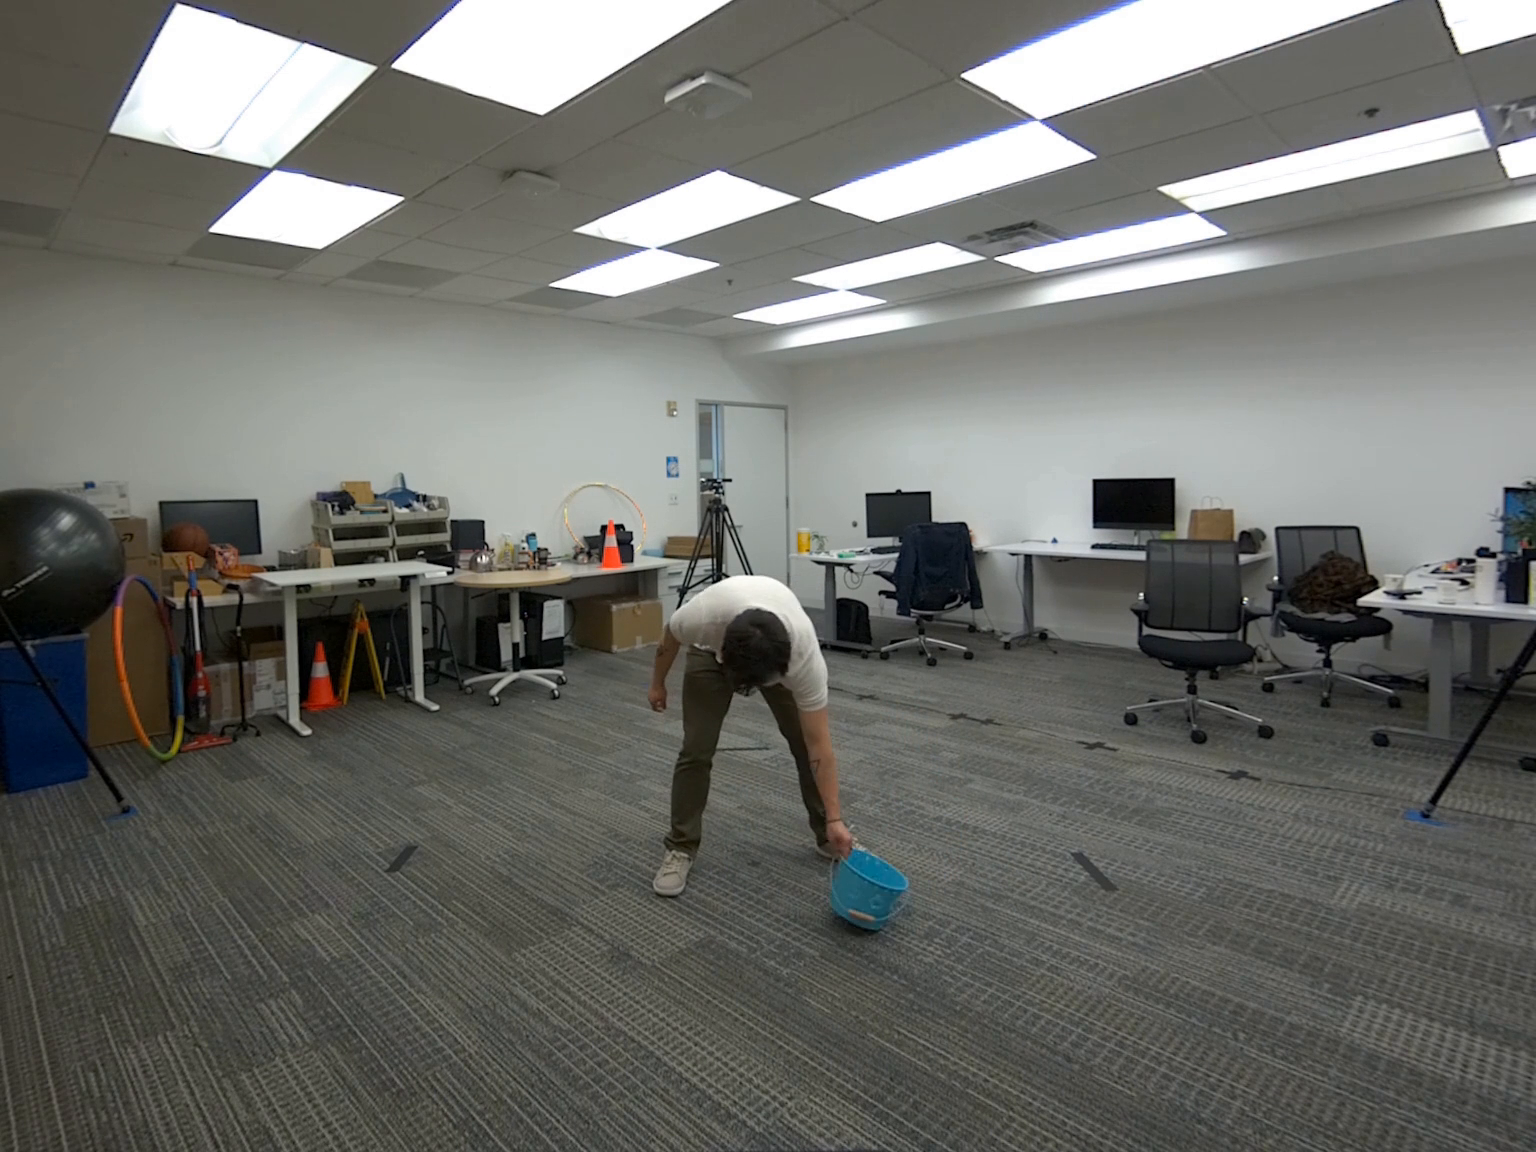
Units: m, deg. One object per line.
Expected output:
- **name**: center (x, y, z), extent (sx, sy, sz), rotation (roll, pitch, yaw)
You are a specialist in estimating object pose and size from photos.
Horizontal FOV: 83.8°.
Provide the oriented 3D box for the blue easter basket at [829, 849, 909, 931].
- **blue easter basket**: center (0.312, 0.985, 2.680), extent (0.243, 0.155, 0.245), rotation (19, 5, -3)
